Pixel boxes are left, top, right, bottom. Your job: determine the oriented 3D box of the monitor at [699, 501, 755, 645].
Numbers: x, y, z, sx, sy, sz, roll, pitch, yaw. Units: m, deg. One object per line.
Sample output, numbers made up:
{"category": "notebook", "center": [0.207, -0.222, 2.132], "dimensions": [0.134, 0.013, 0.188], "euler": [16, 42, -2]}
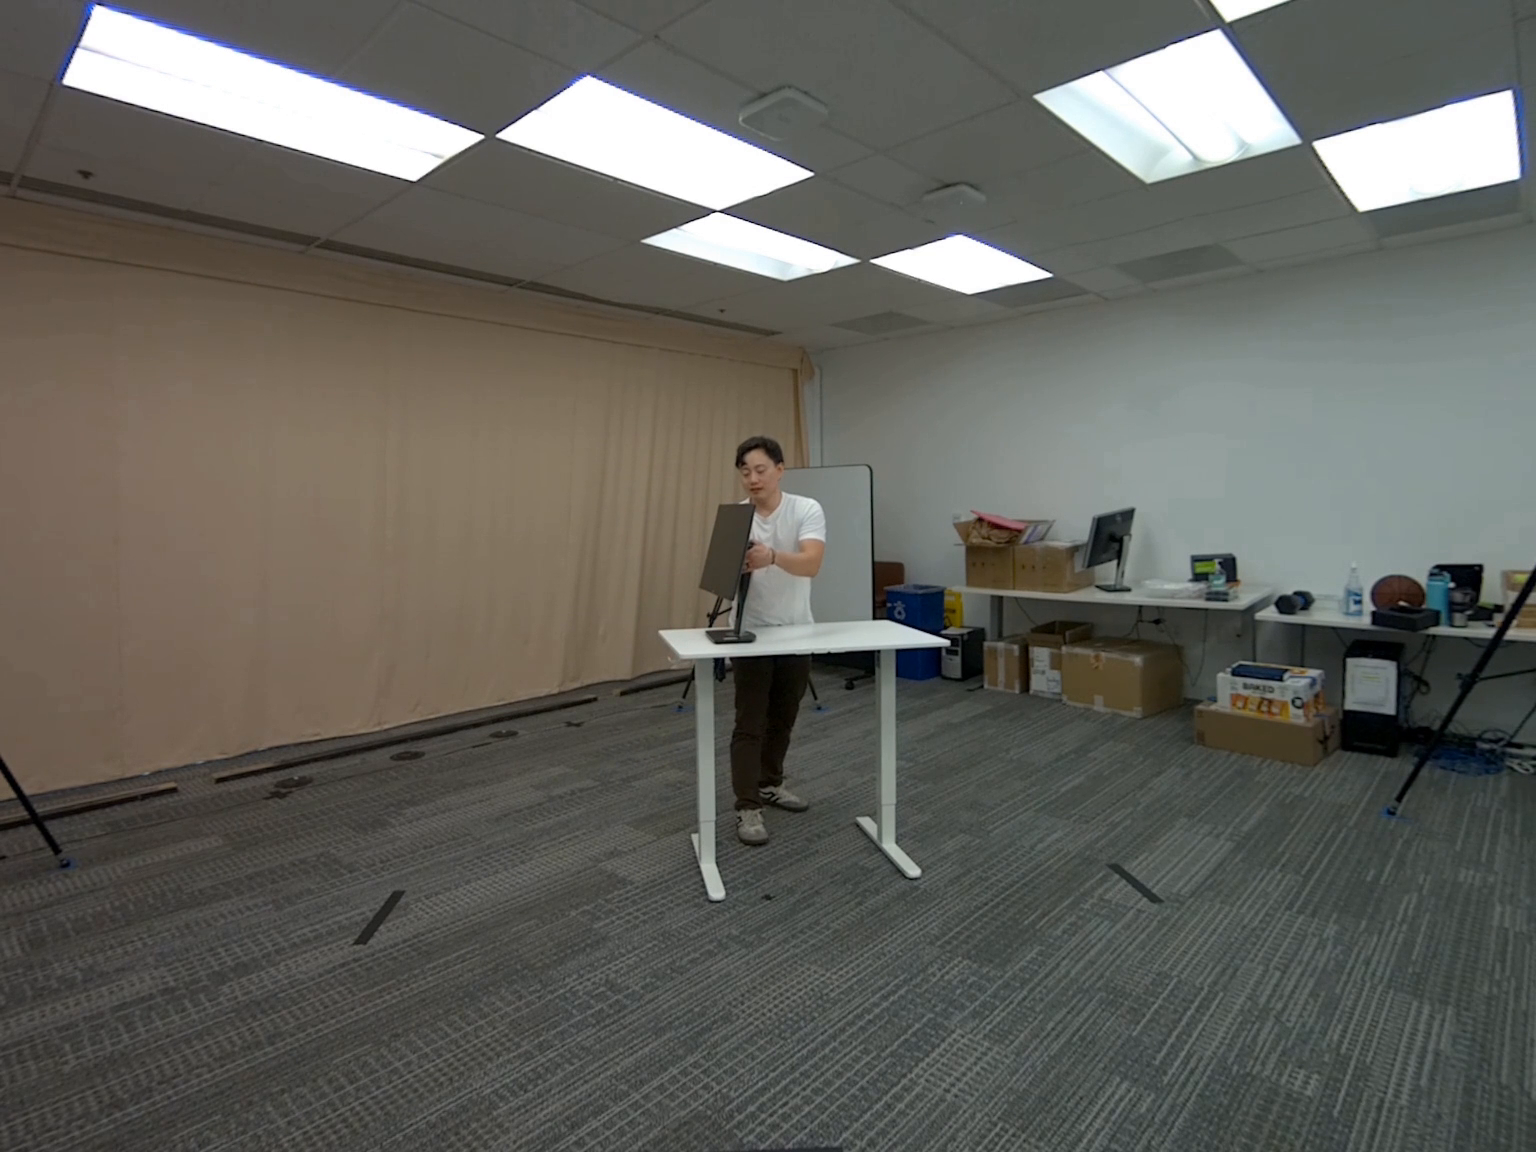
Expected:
{"category": "monitor", "center": [-0.137, -0.014, 3.221], "dimensions": [0.184, 0.522, 0.548], "euler": [2, 3, -15]}
